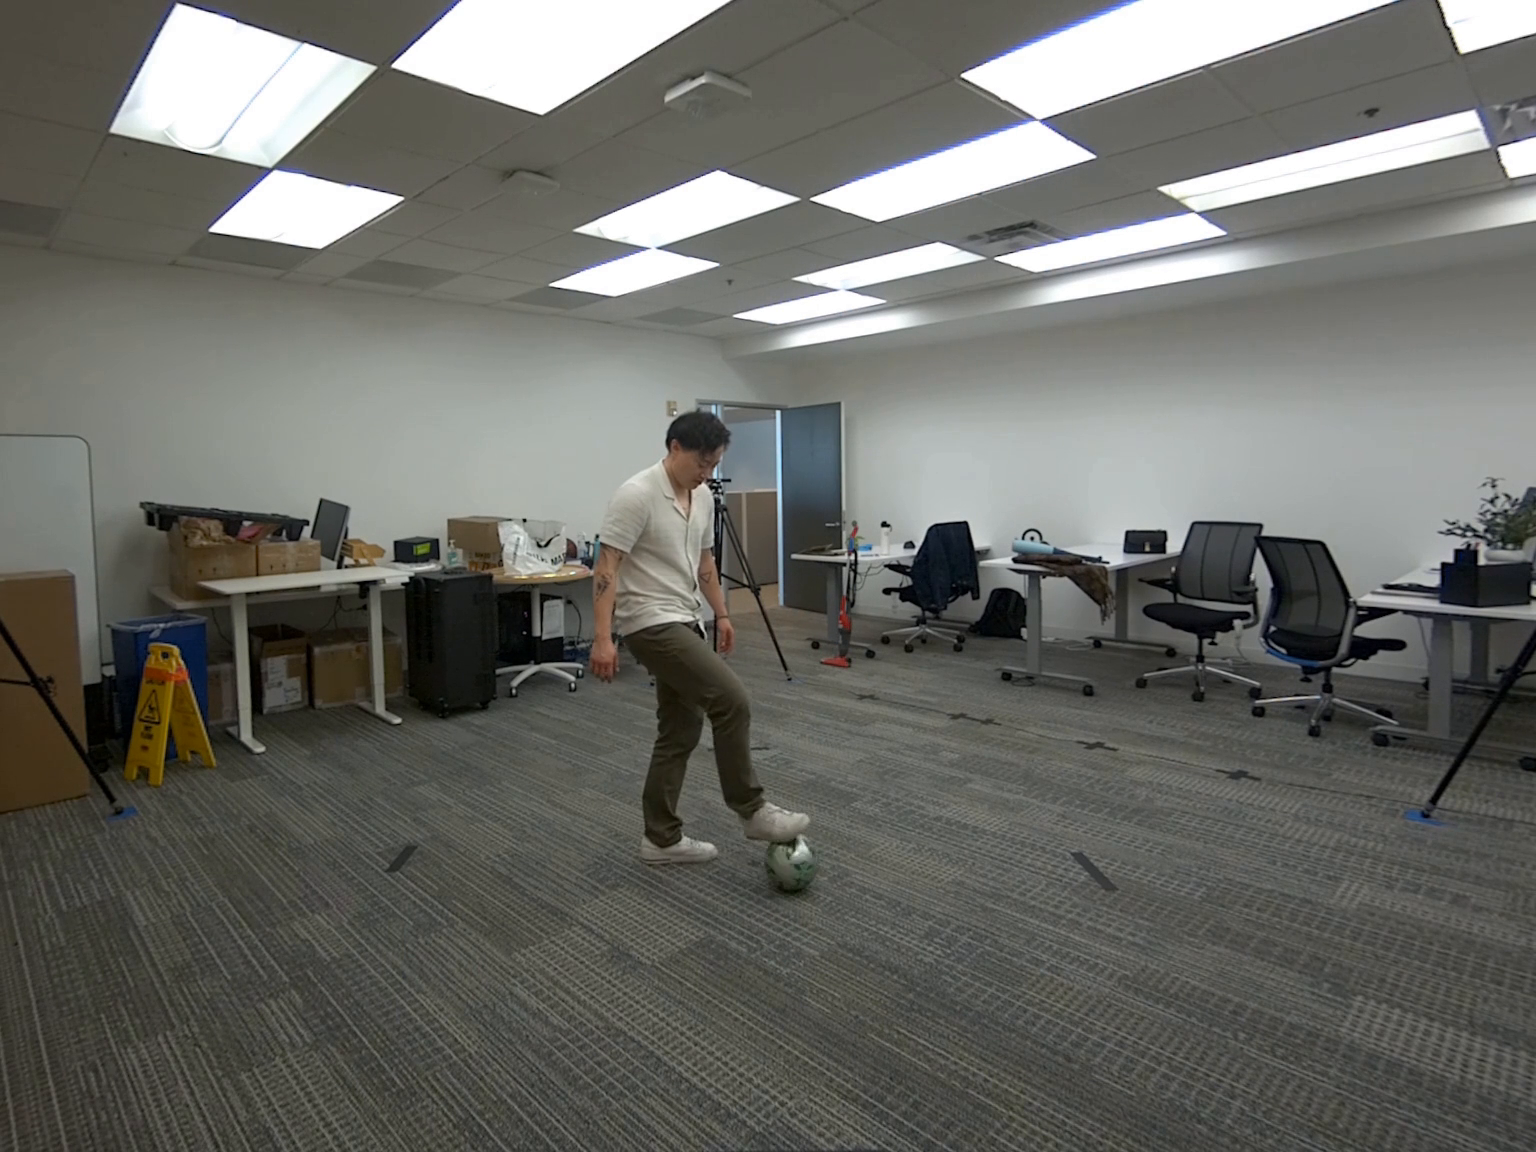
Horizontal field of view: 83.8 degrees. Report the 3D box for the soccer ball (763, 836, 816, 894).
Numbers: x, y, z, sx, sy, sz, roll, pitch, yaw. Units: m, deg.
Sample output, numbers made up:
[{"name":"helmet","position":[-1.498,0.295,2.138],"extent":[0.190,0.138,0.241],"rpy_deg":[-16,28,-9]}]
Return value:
[{"name":"soccer ball","position":[0.068,0.973,2.909],"extent":[0.187,0.187,0.188],"rpy_deg":[-1,5,-2]}]
